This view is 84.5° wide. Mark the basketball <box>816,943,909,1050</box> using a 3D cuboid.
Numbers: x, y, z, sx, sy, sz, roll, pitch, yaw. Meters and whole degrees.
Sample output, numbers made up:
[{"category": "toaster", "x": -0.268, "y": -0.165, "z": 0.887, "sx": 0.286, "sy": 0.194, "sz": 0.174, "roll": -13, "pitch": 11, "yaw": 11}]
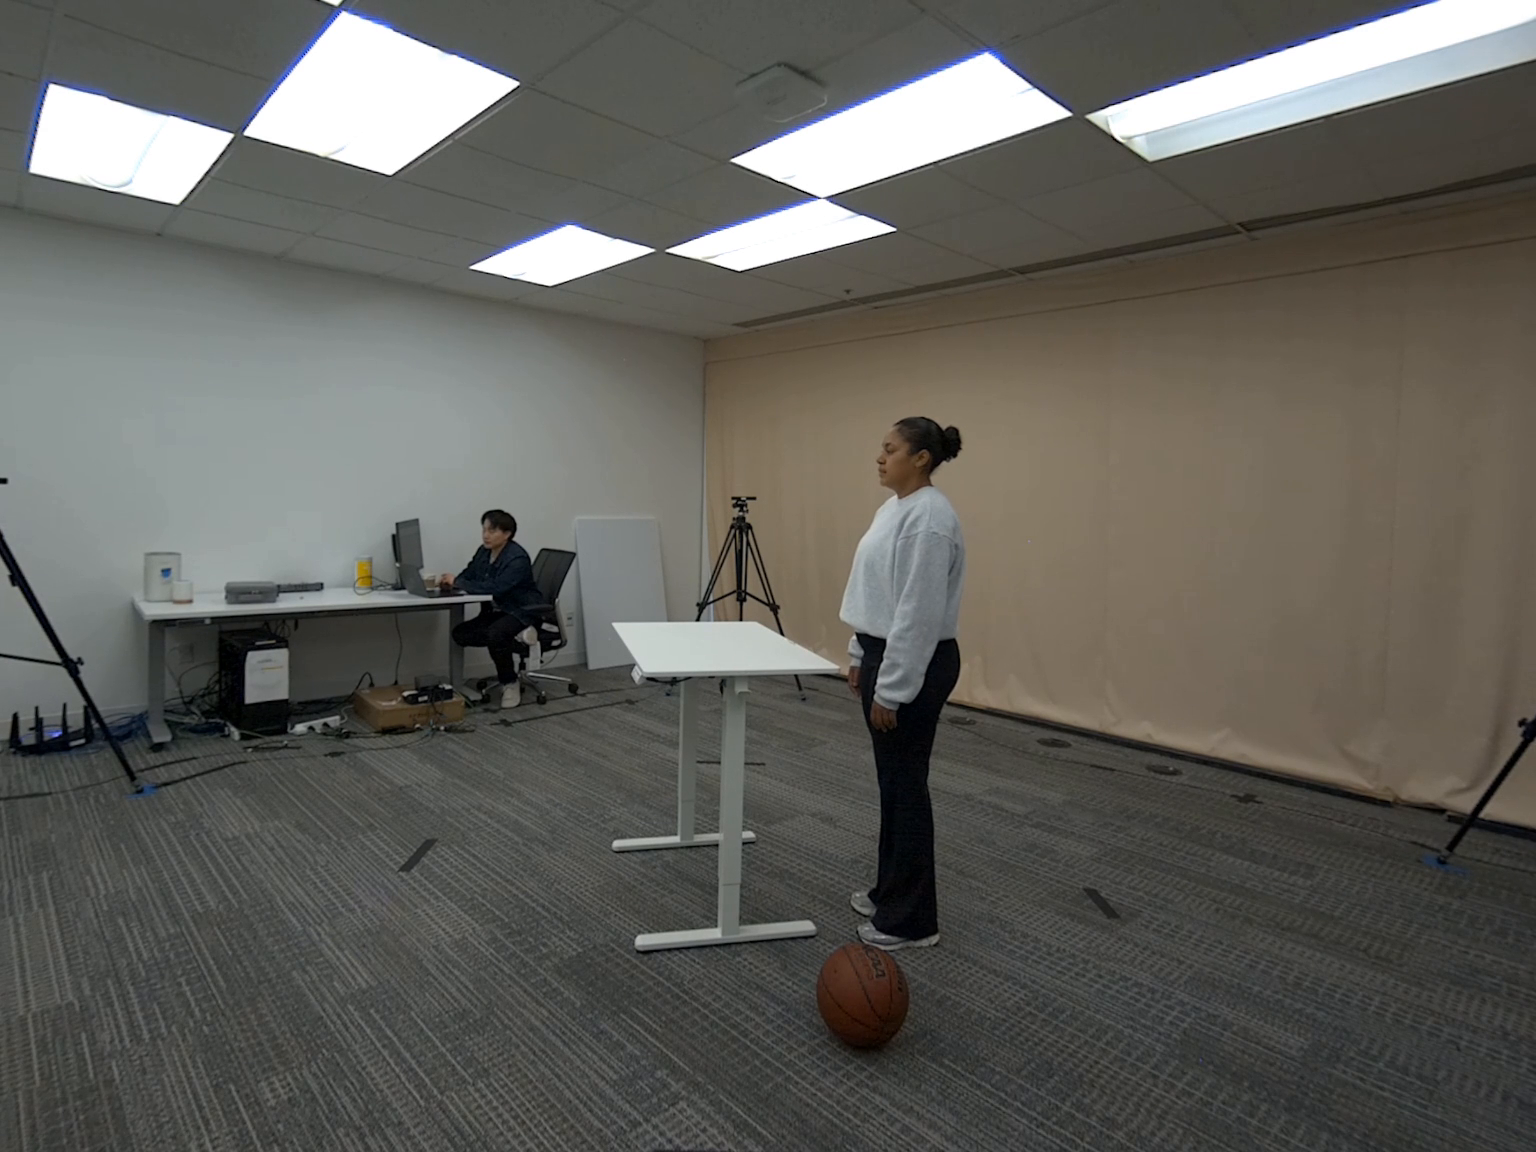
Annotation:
[{"category": "basketball", "x": 0.240, "y": 1.085, "z": 2.179, "sx": 0.236, "sy": 0.235, "sz": 0.237, "roll": 1, "pitch": 4, "yaw": -1}]
